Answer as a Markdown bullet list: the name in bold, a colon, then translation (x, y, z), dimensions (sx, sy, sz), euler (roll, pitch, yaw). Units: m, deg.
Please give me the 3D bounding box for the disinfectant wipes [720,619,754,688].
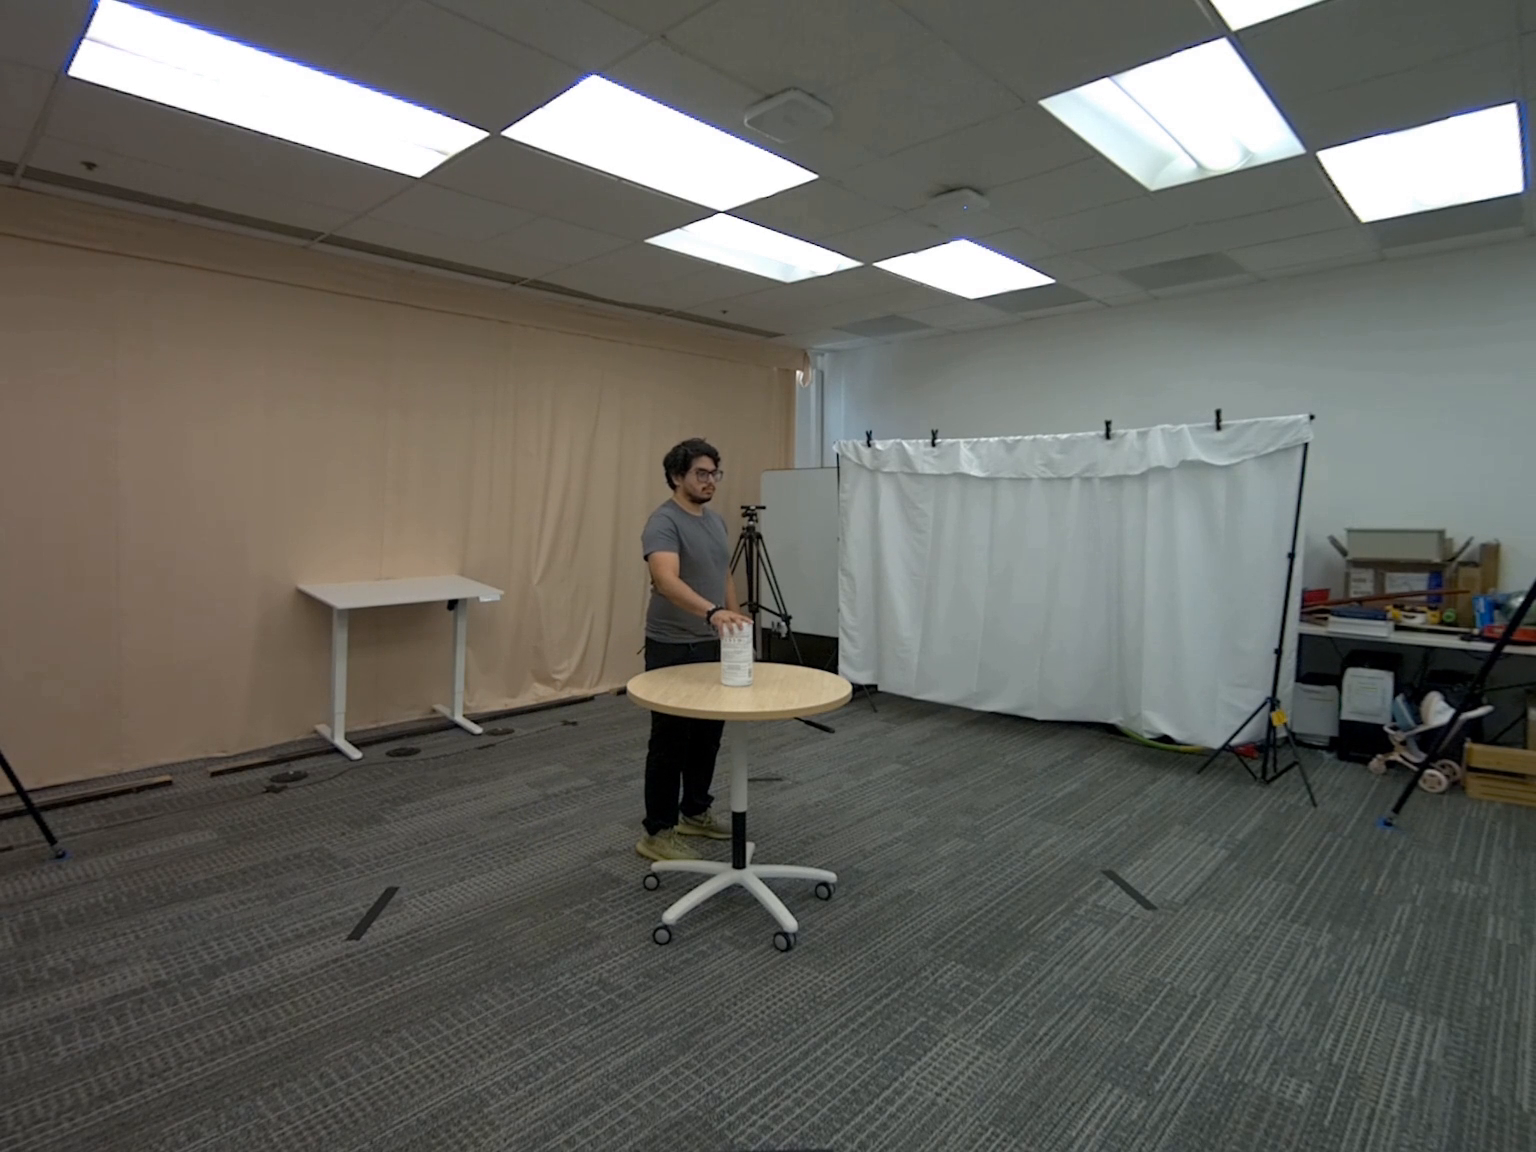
- **disinfectant wipes**: translation (-0.101, 0.264, 2.882), dimensions (0.118, 0.217, 0.118), euler (-1, 5, -2)
